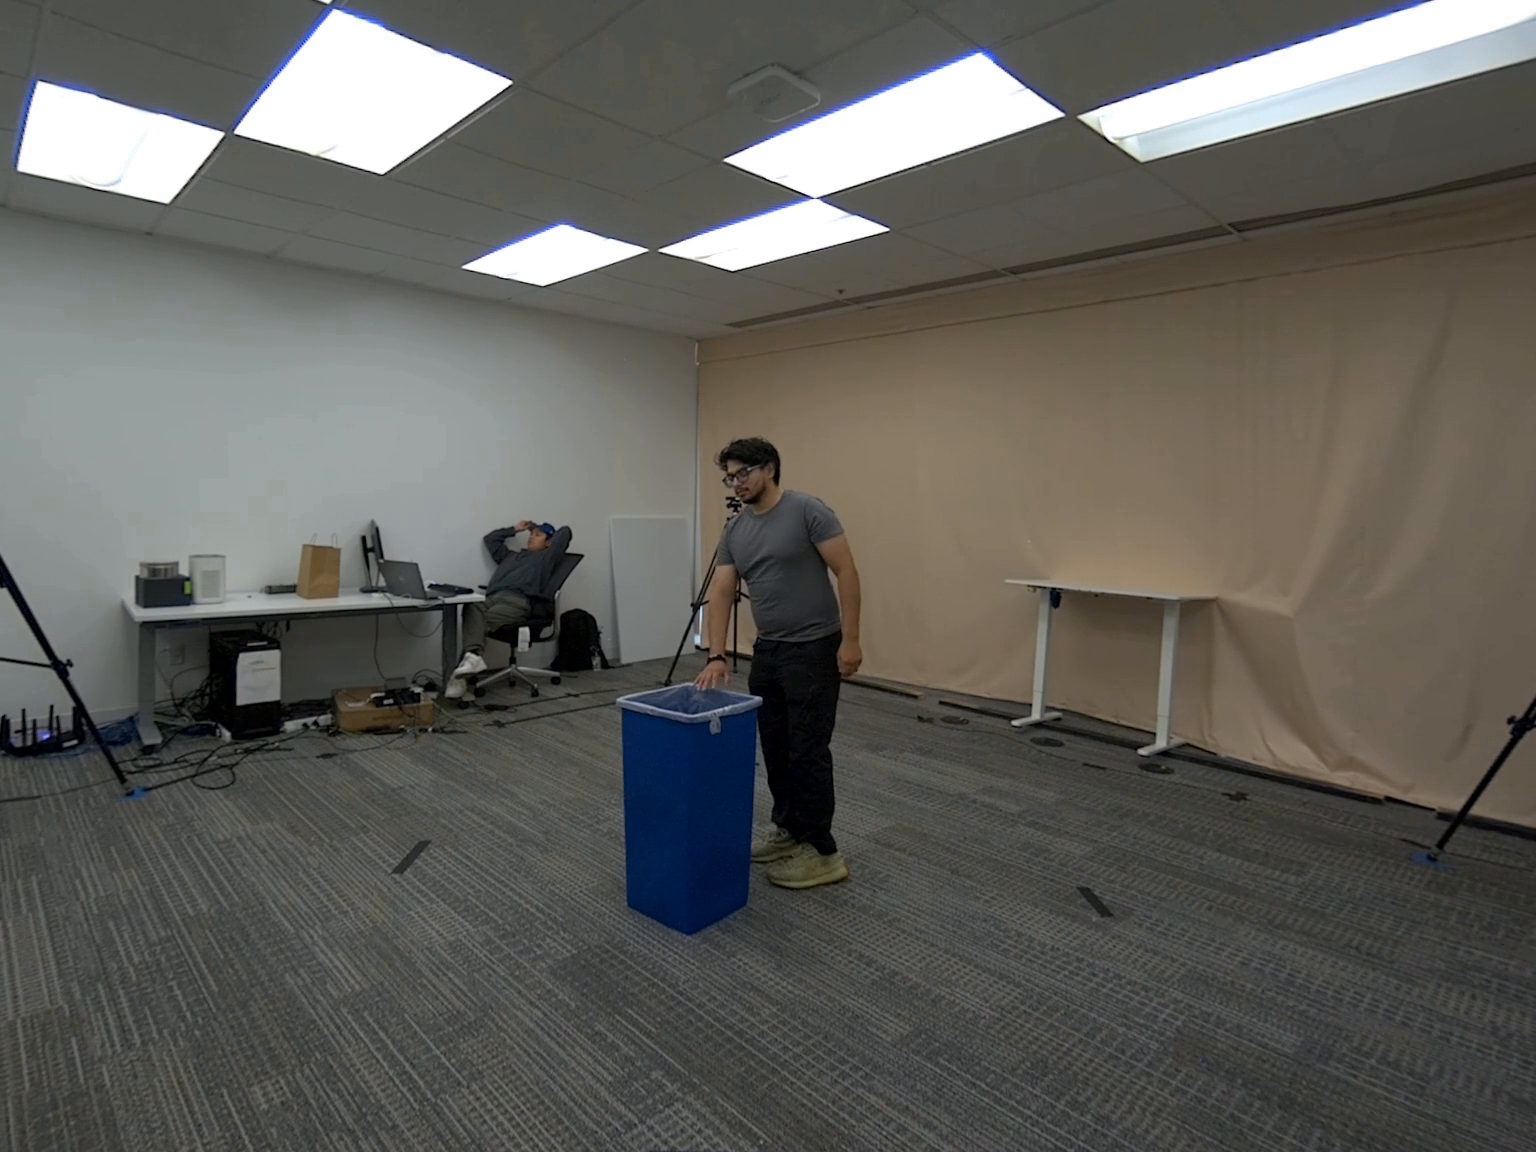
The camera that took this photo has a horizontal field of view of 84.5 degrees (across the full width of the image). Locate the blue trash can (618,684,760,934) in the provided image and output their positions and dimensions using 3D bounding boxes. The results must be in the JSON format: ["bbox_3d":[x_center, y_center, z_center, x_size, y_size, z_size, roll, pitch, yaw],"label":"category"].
[{"bbox_3d":[-0.284,0.767,2.860,0.383,0.712,0.369,4,4,39],"label":"blue trash can"}]
